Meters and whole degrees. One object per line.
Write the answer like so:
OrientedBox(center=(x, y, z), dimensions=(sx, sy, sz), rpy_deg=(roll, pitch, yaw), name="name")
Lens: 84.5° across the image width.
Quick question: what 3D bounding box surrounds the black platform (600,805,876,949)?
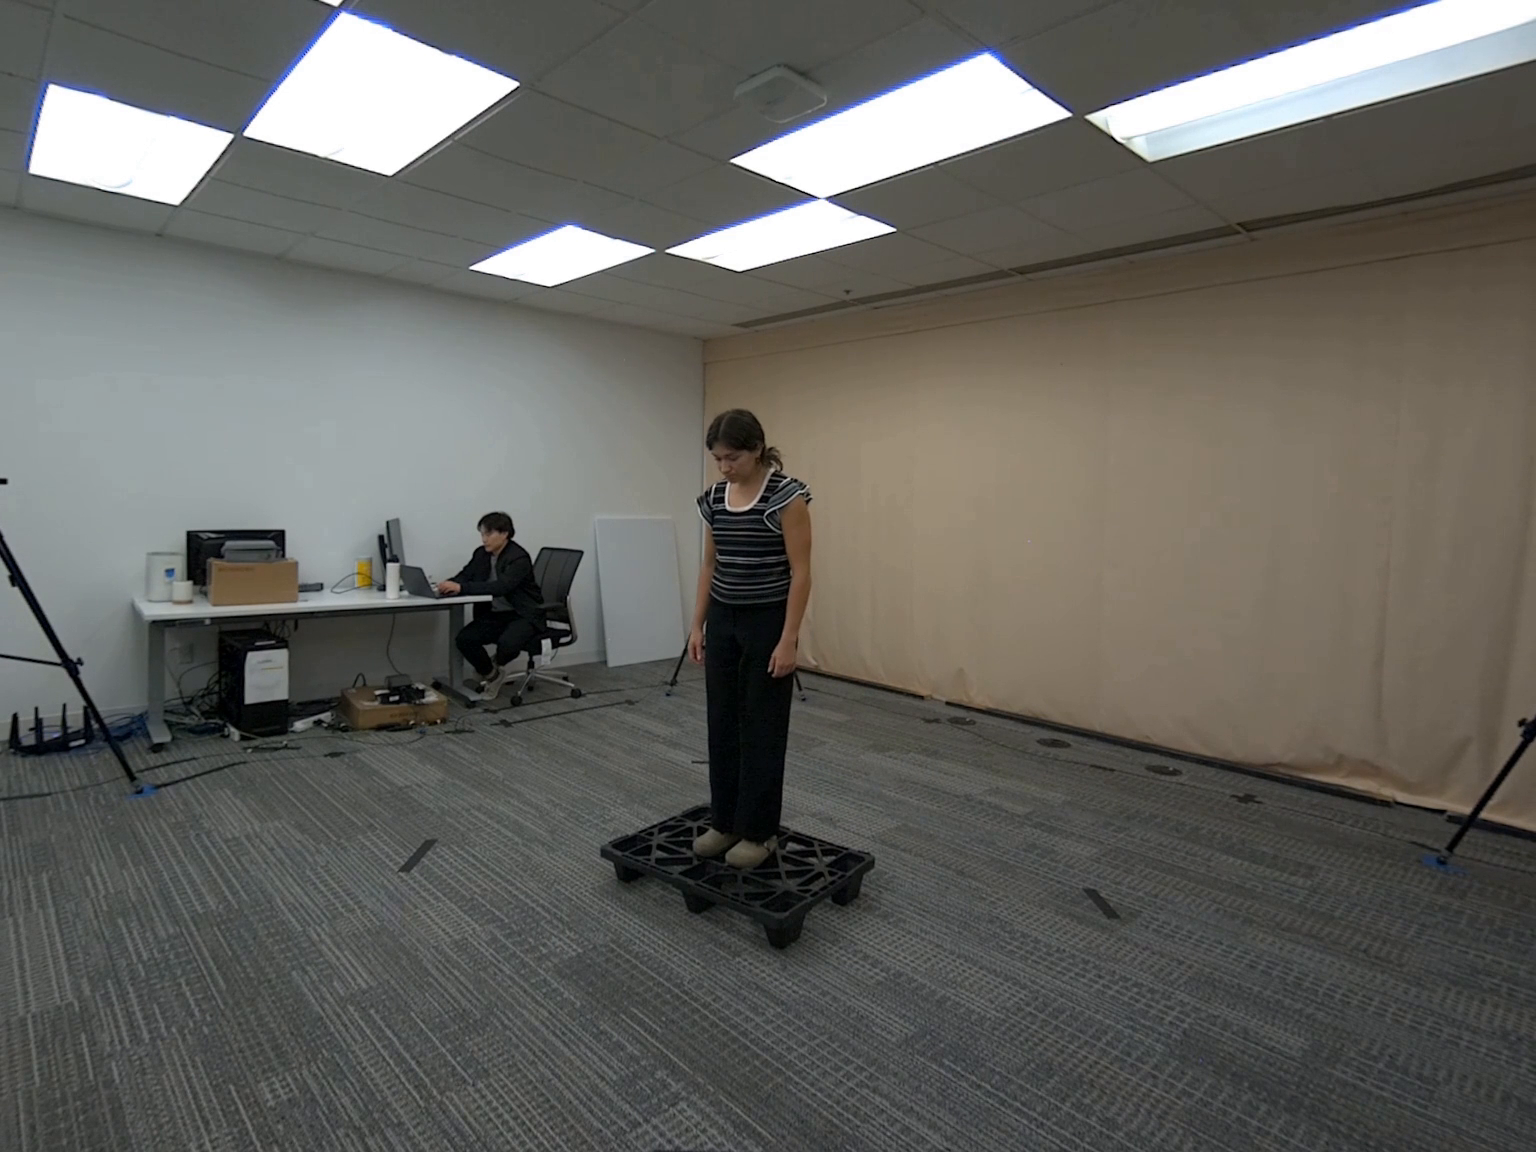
OrientedBox(center=(-0.119, 1.047, 3.001), dimensions=(0.825, 0.143, 0.592), rpy_deg=(5, 7, 37), name="black platform")
